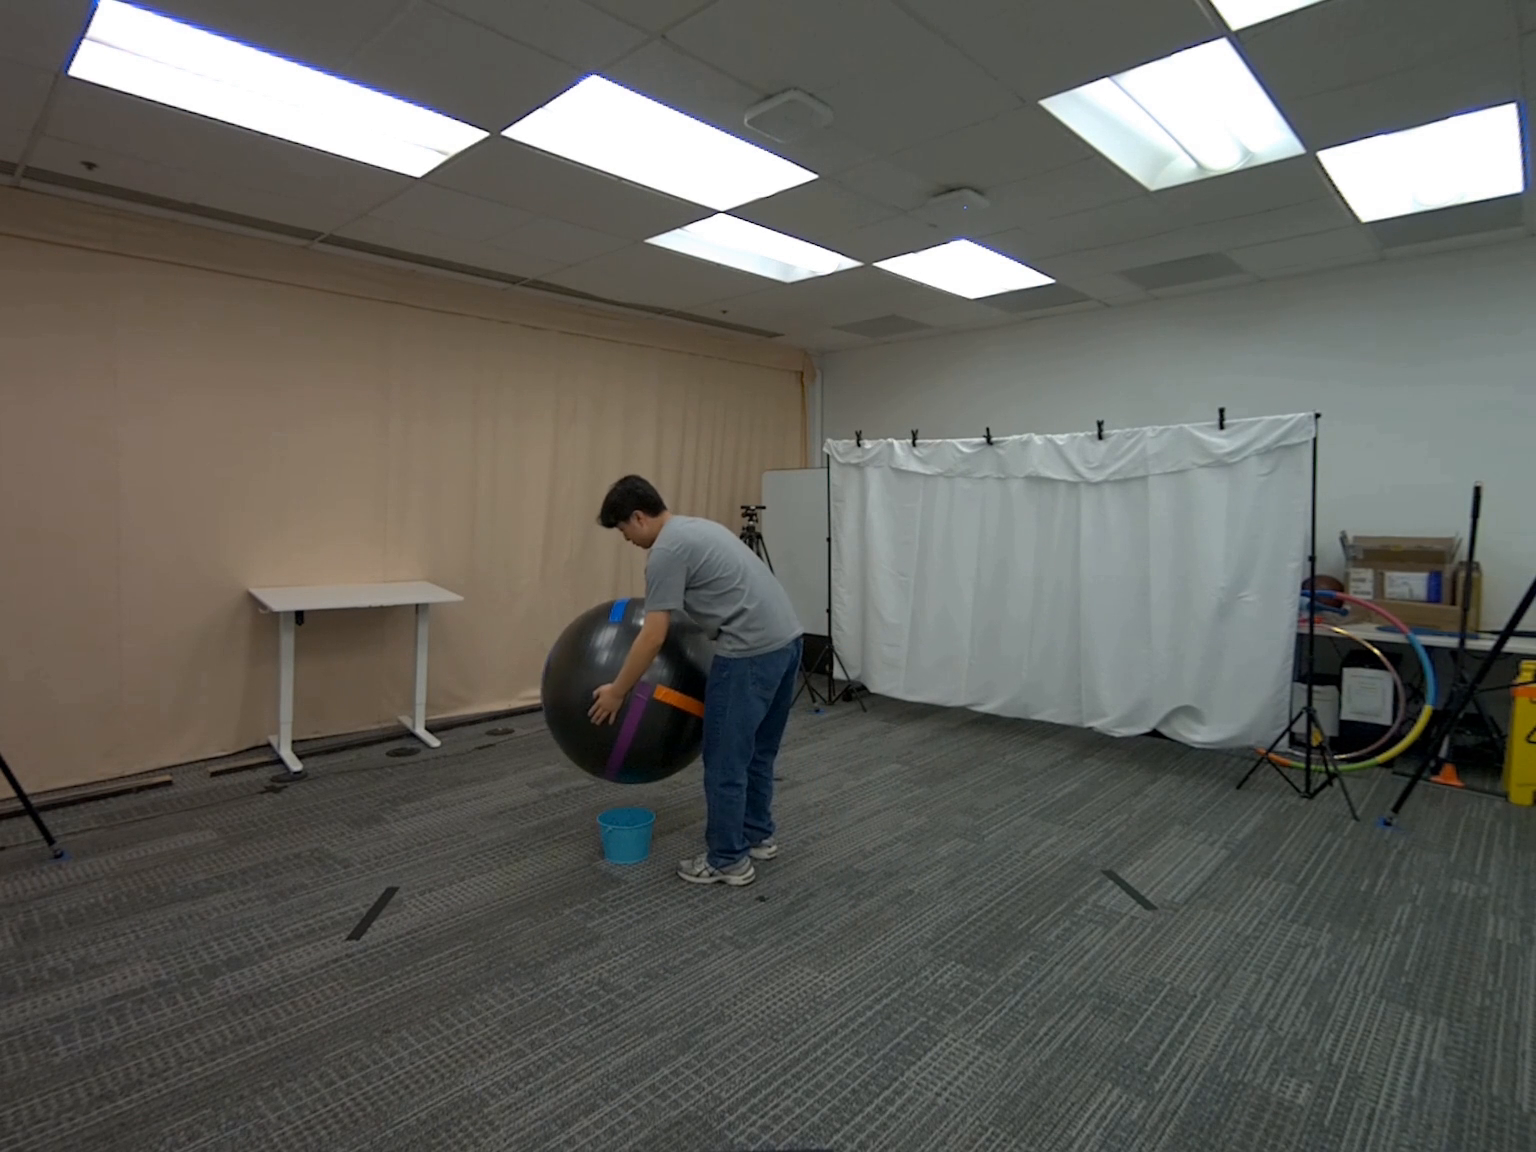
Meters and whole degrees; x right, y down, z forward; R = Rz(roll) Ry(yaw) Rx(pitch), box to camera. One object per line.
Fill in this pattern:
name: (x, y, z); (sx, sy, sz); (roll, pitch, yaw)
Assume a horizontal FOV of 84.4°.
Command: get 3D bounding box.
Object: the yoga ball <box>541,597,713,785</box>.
yoga ball: (-0.552, 0.465, 3.495); (0.757, 0.756, 0.761); (0, 4, -2)
